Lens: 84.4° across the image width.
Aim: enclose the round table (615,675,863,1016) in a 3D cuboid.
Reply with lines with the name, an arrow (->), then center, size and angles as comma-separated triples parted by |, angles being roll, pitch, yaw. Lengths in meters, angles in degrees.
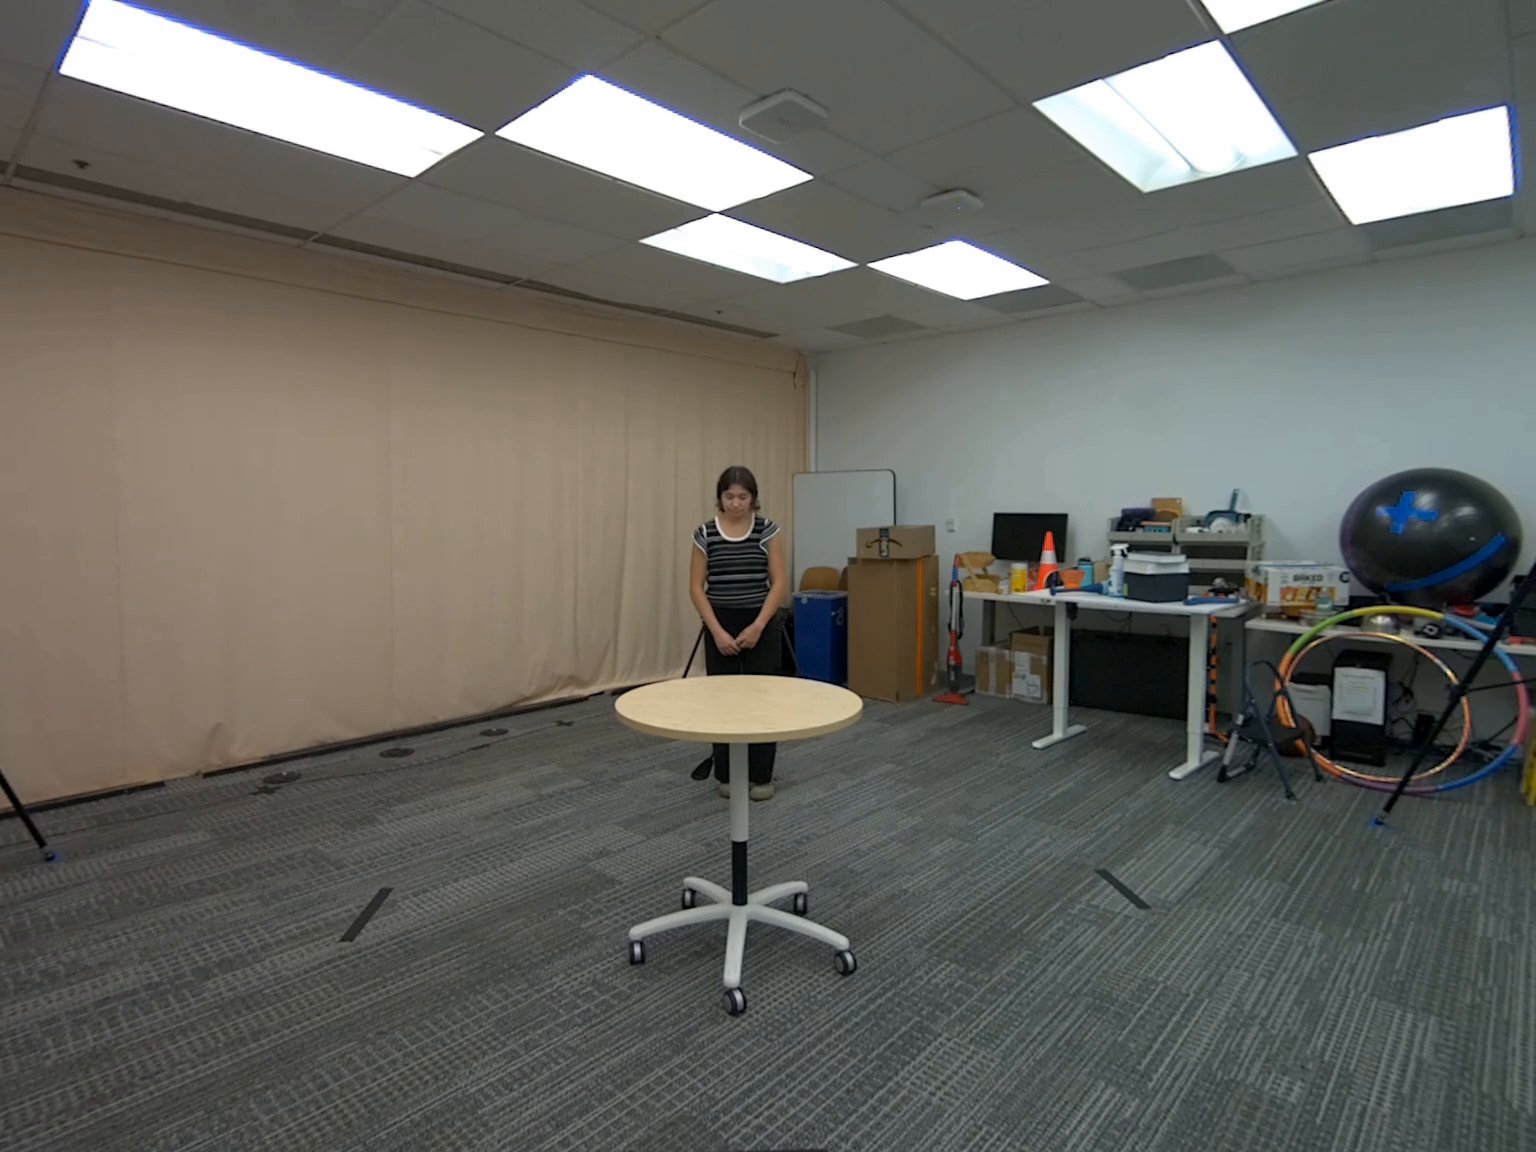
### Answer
round table -> -0.073, 0.775, 2.647 | 0.784, 0.785, 0.788 | -1, 4, -2
